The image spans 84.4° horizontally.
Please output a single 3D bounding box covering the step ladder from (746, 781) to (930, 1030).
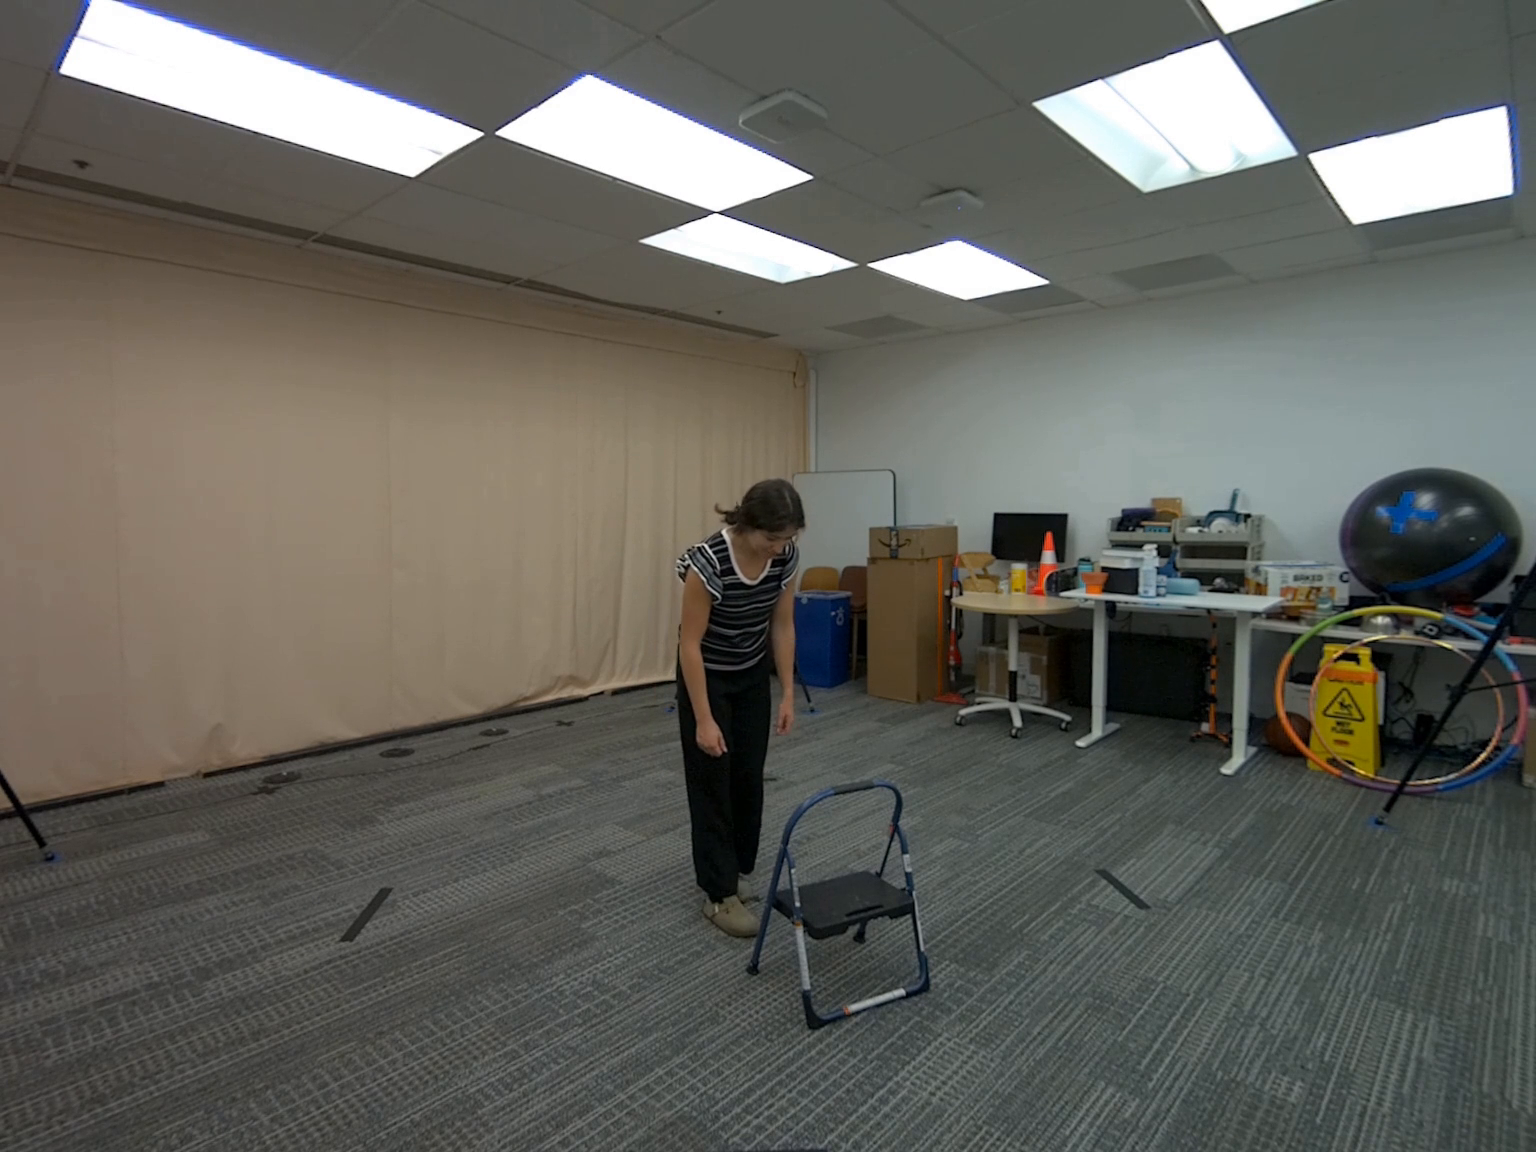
[{"bbox_3d":[0.210,0.885,2.457,0.419,0.605,0.359,-2,4,-29],"label":"step ladder"}]
